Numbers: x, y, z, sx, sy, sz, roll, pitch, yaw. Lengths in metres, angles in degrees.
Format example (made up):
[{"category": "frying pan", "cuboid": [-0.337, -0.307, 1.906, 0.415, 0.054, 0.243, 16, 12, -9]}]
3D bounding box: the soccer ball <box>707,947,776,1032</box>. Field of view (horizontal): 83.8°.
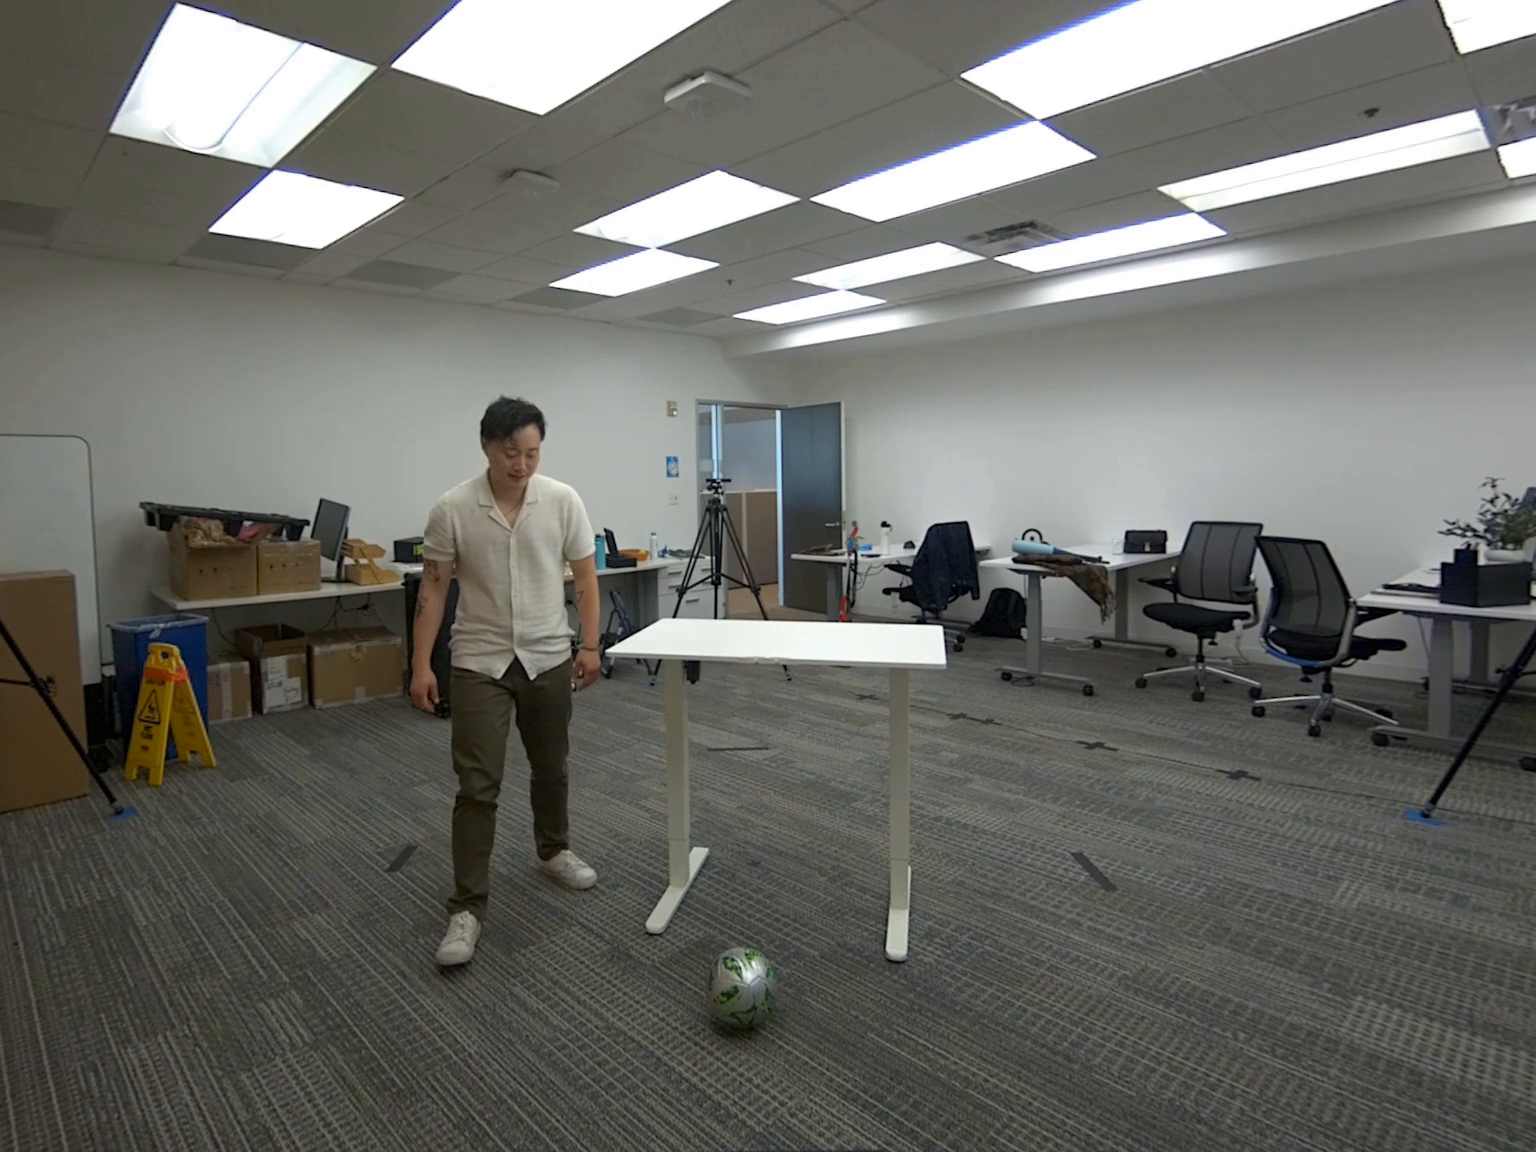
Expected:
[{"category": "soccer ball", "cuboid": [-0.064, 1.060, 2.197, 0.187, 0.187, 0.188, -1, 5, -2]}]
